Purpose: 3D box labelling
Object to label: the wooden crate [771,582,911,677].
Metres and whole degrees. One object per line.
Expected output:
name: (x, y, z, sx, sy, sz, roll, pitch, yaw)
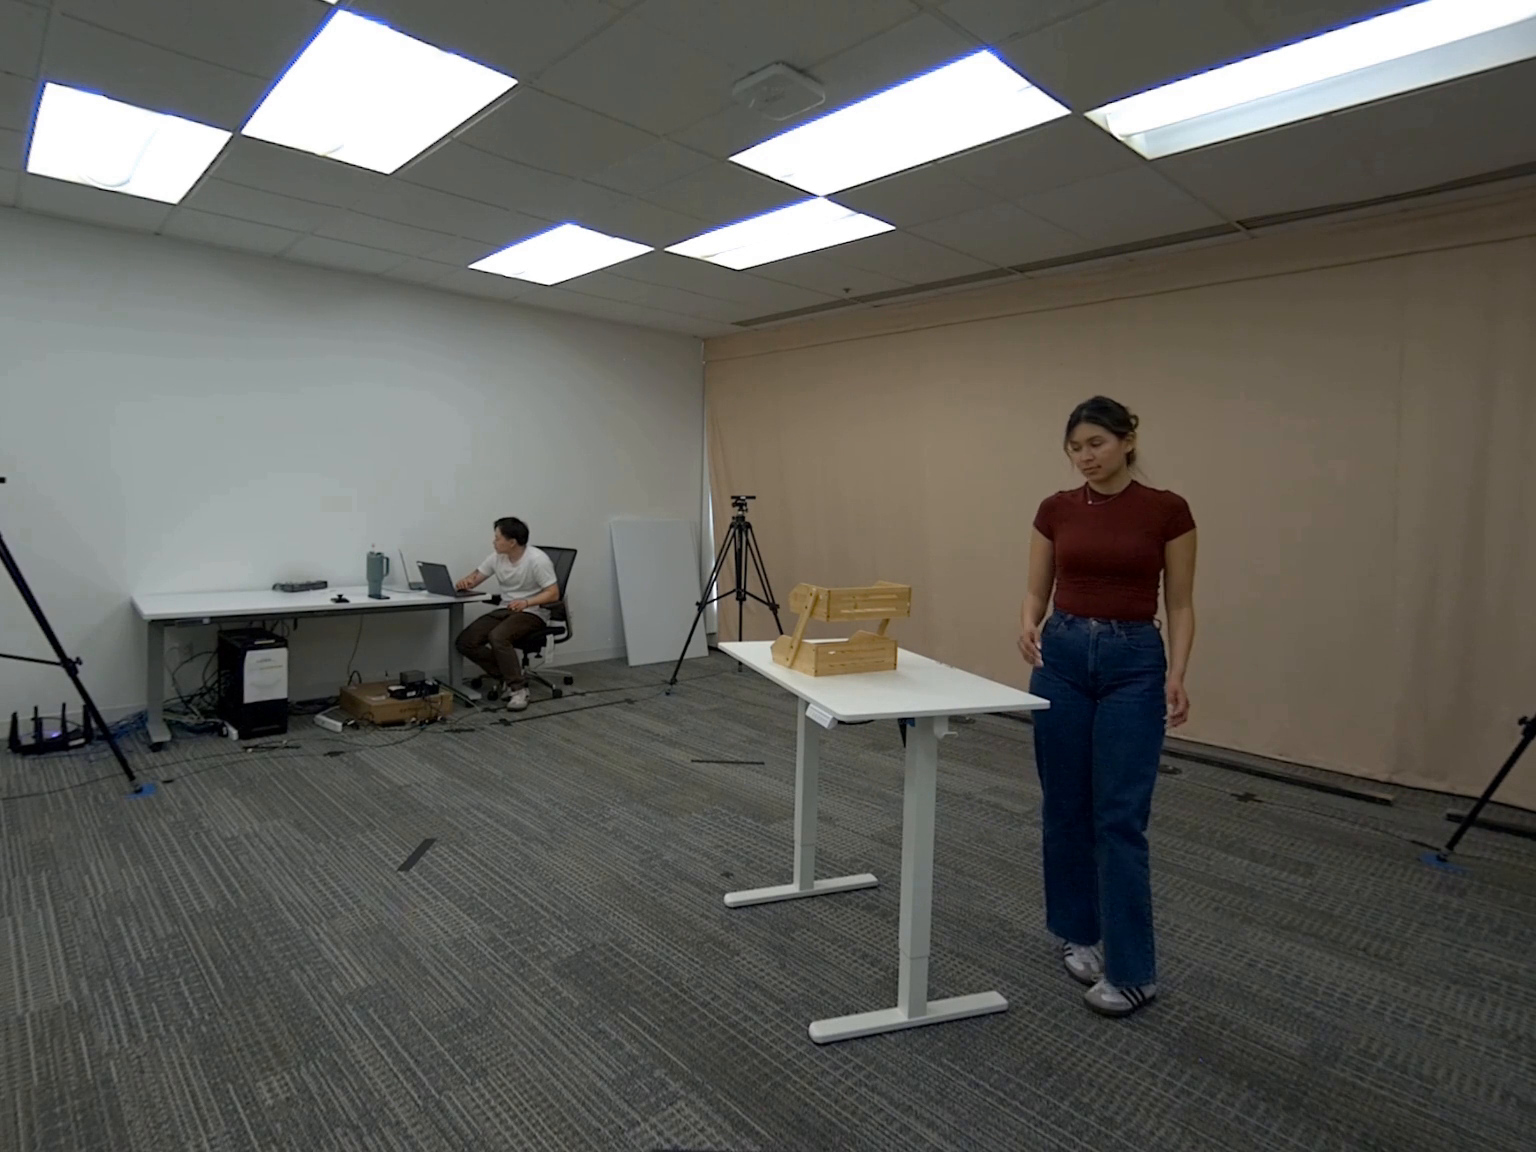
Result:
wooden crate: (0.213, 0.147, 2.562, 0.318, 0.272, 0.309, -1, 6, -30)
